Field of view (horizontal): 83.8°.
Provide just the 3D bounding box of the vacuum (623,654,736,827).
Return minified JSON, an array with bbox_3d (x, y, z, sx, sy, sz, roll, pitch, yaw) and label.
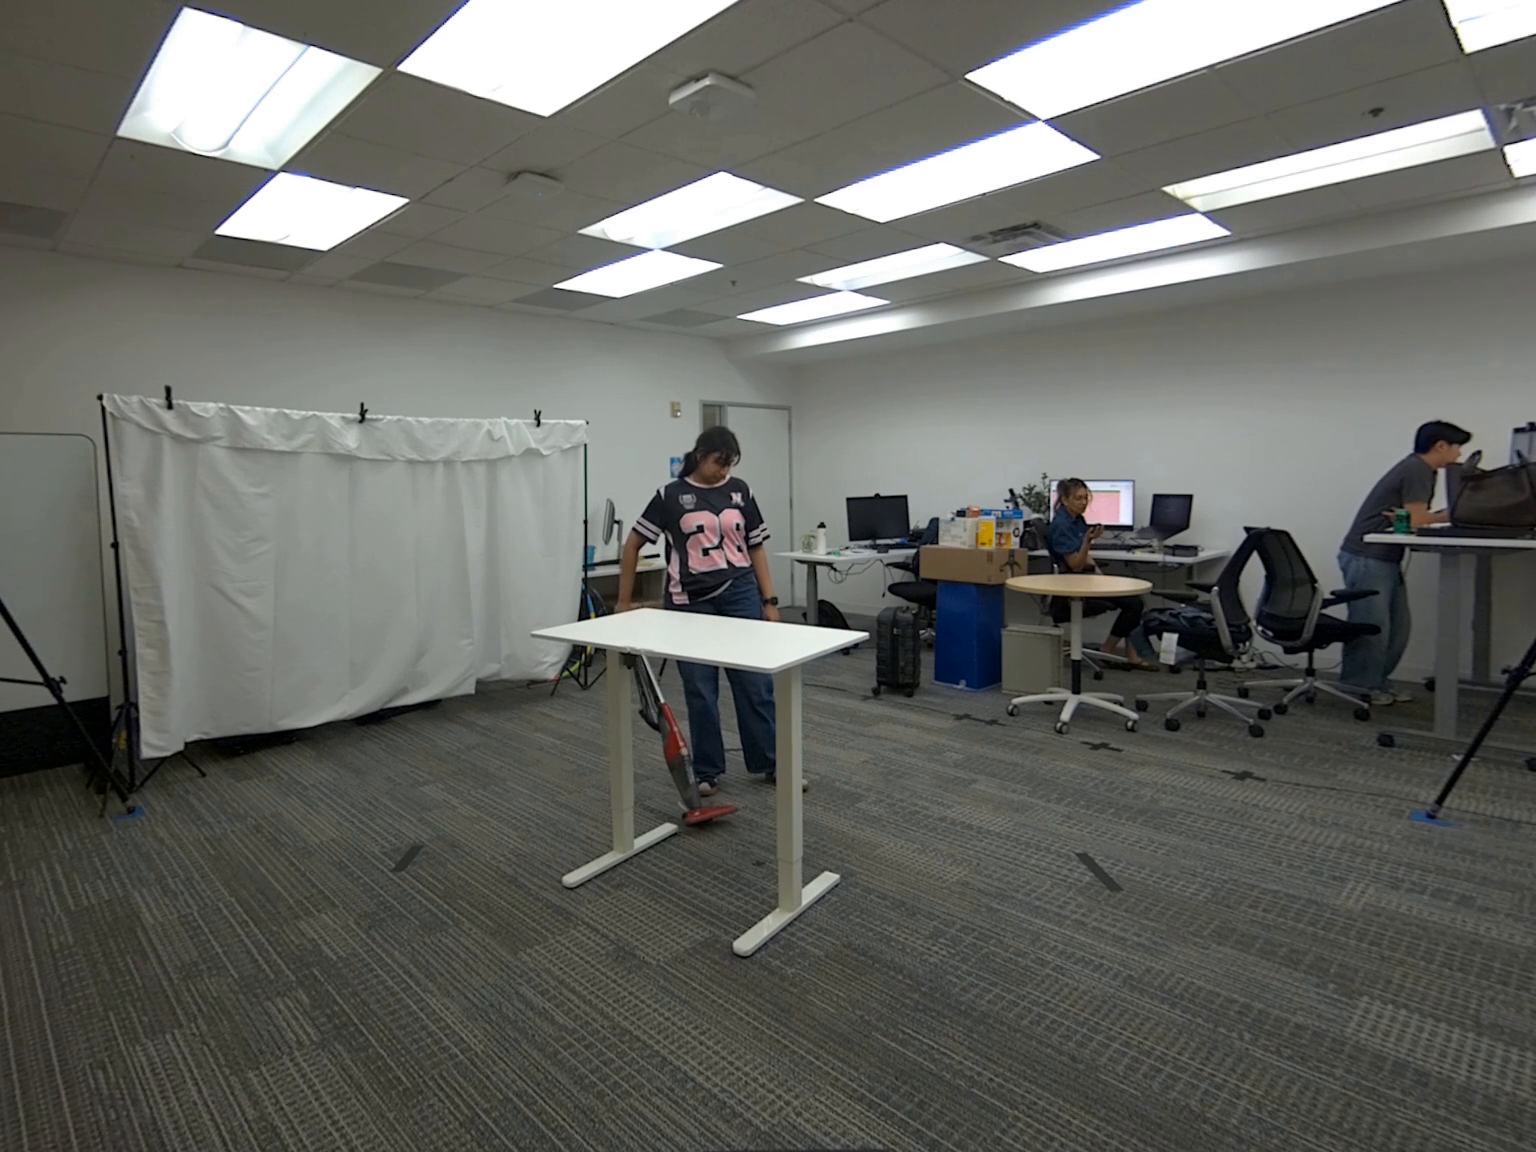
[{"bbox_3d":[-0.476,0.574,3.731,0.246,1.085,0.143,-2,-40,-36],"label":"vacuum"}]
